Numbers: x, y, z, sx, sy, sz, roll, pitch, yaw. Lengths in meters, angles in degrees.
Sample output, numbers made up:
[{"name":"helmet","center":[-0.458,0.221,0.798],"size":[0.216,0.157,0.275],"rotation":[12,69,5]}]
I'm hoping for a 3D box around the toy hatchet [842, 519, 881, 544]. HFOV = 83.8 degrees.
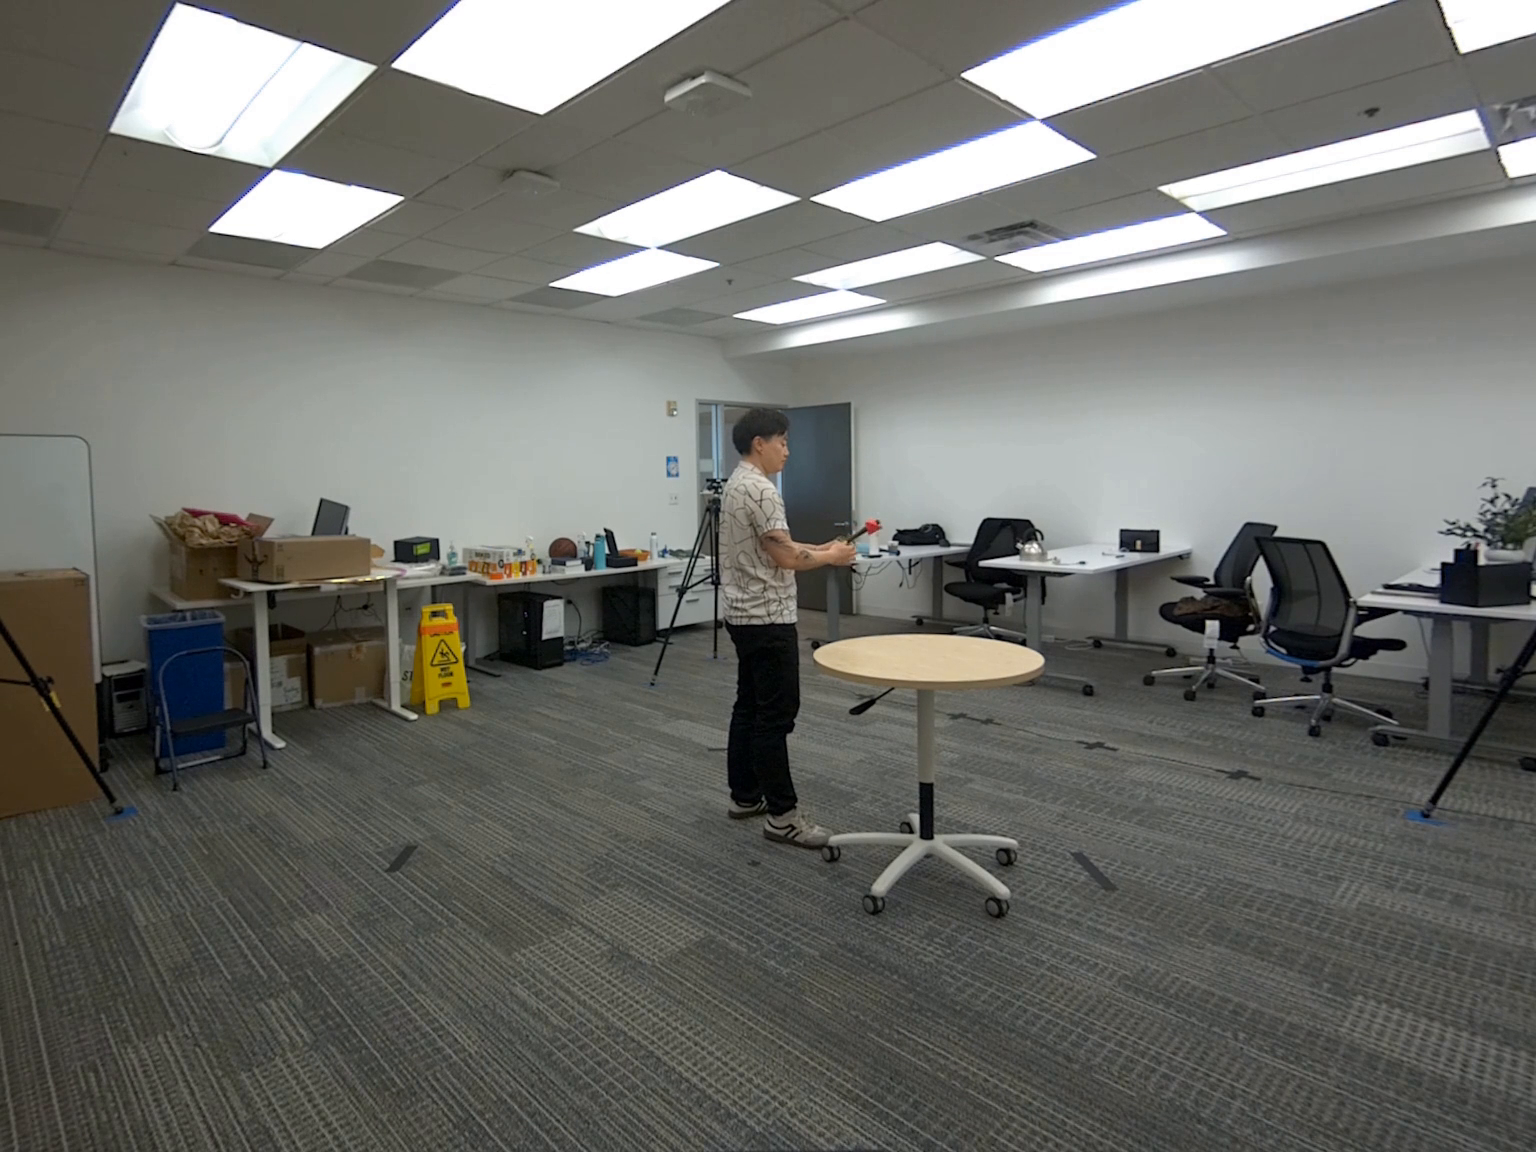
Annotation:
[{"name":"toy hatchet","center":[0.357,-0.160,3.533],"size":[0.127,0.030,0.270],"rotation":[-2,-29,-41]}]
